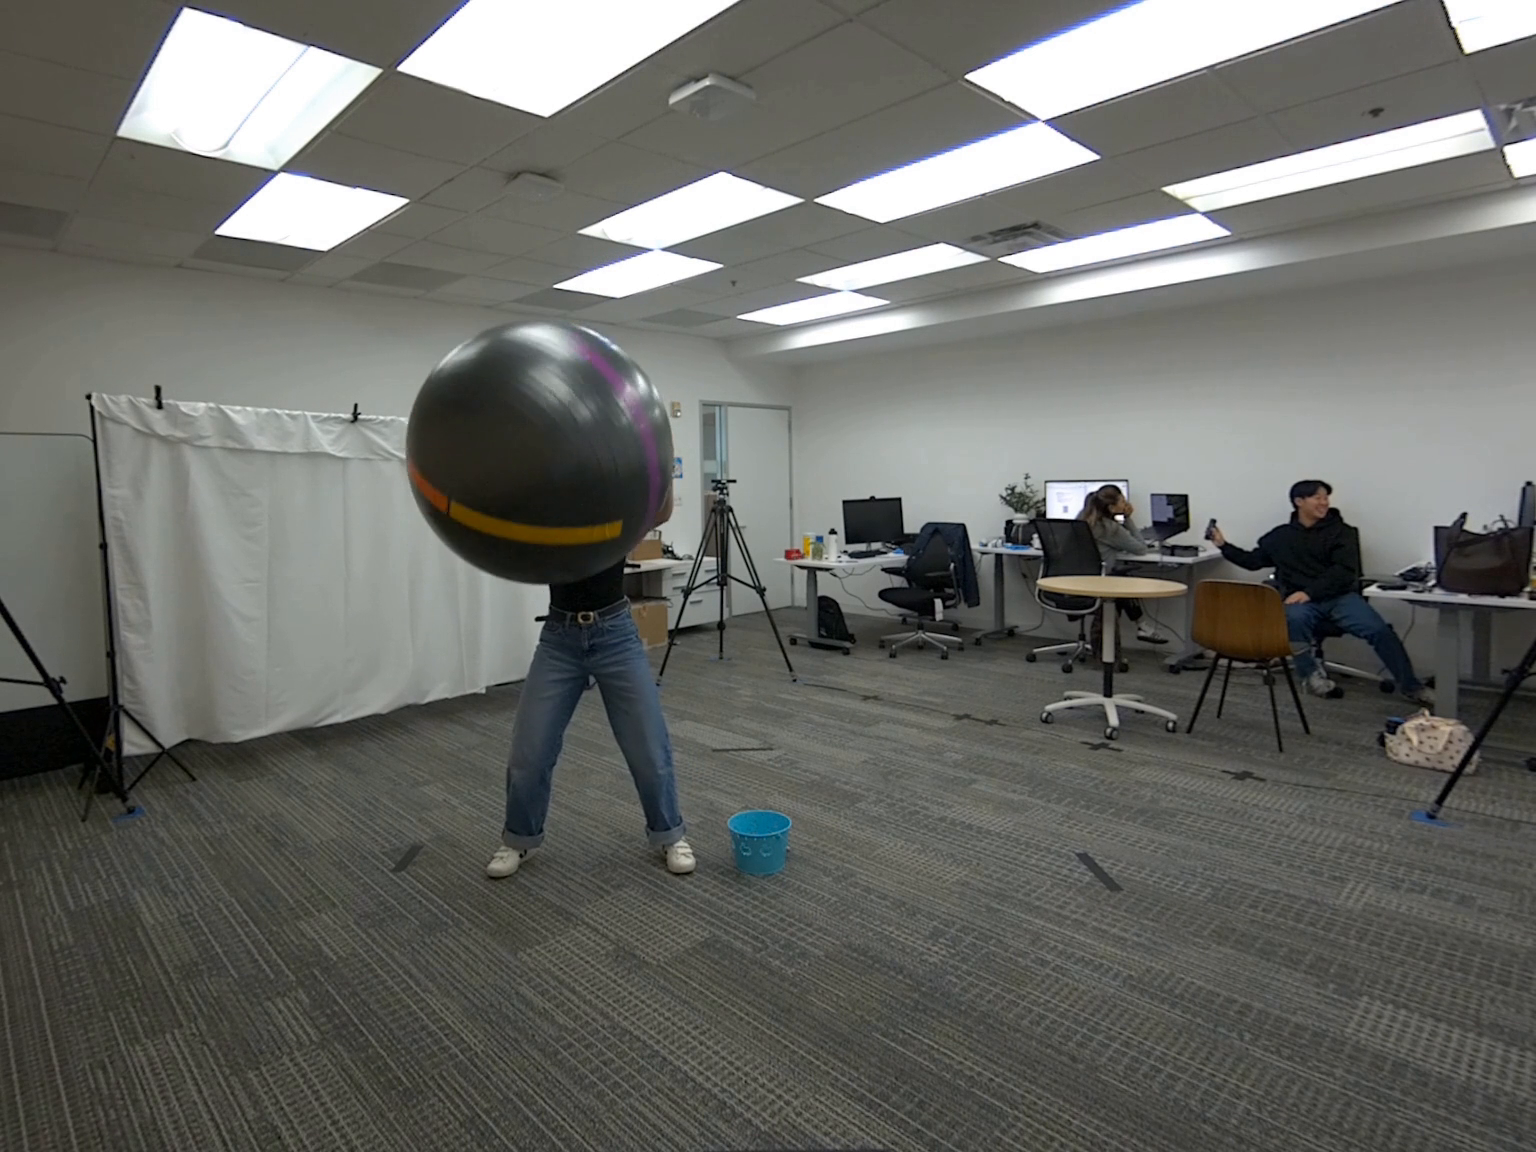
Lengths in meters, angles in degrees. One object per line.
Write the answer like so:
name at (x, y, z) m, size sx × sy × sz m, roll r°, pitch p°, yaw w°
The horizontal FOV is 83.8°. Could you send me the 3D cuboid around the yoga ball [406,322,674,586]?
yoga ball at (-0.655, -0.346, 2.492) m, size 0.757 × 0.755 × 0.762 m, roll -1°, pitch 5°, yaw -2°
